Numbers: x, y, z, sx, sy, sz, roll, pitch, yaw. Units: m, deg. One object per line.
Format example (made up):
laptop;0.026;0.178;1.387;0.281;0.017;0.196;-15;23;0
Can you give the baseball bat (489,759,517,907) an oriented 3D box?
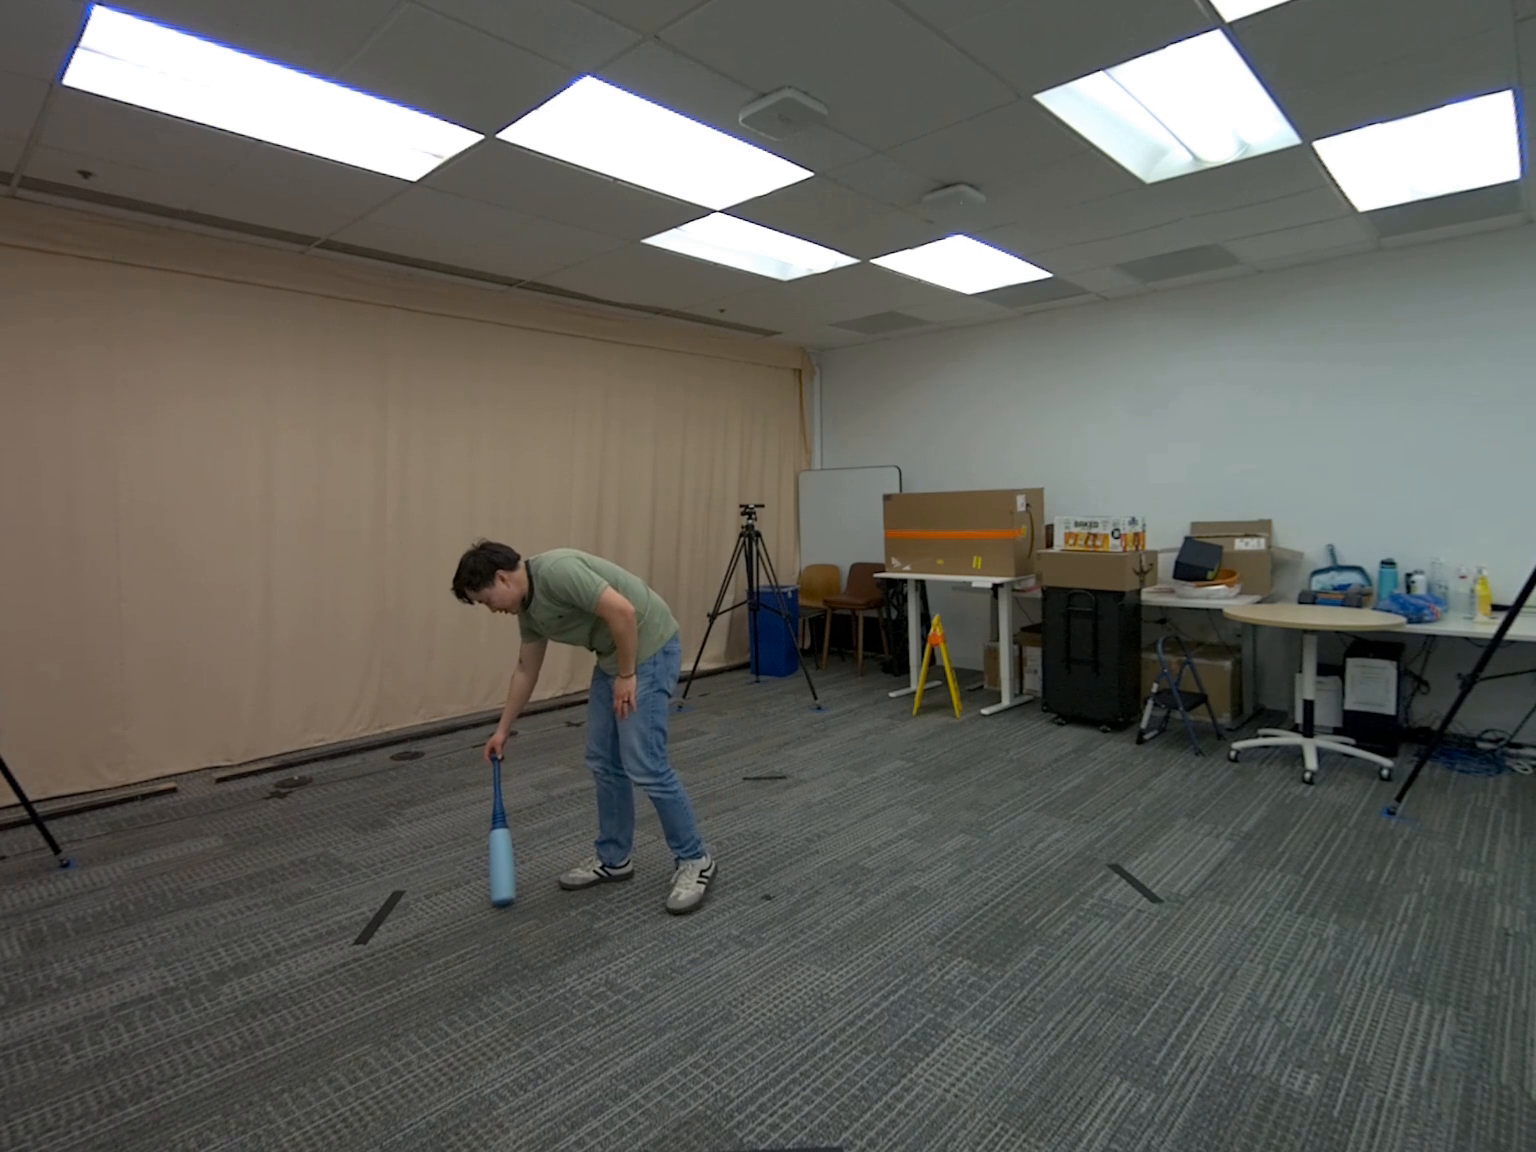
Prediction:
baseball bat;-0.983;0.925;3.083;0.088;0.555;0.087;-10;-30;-8
